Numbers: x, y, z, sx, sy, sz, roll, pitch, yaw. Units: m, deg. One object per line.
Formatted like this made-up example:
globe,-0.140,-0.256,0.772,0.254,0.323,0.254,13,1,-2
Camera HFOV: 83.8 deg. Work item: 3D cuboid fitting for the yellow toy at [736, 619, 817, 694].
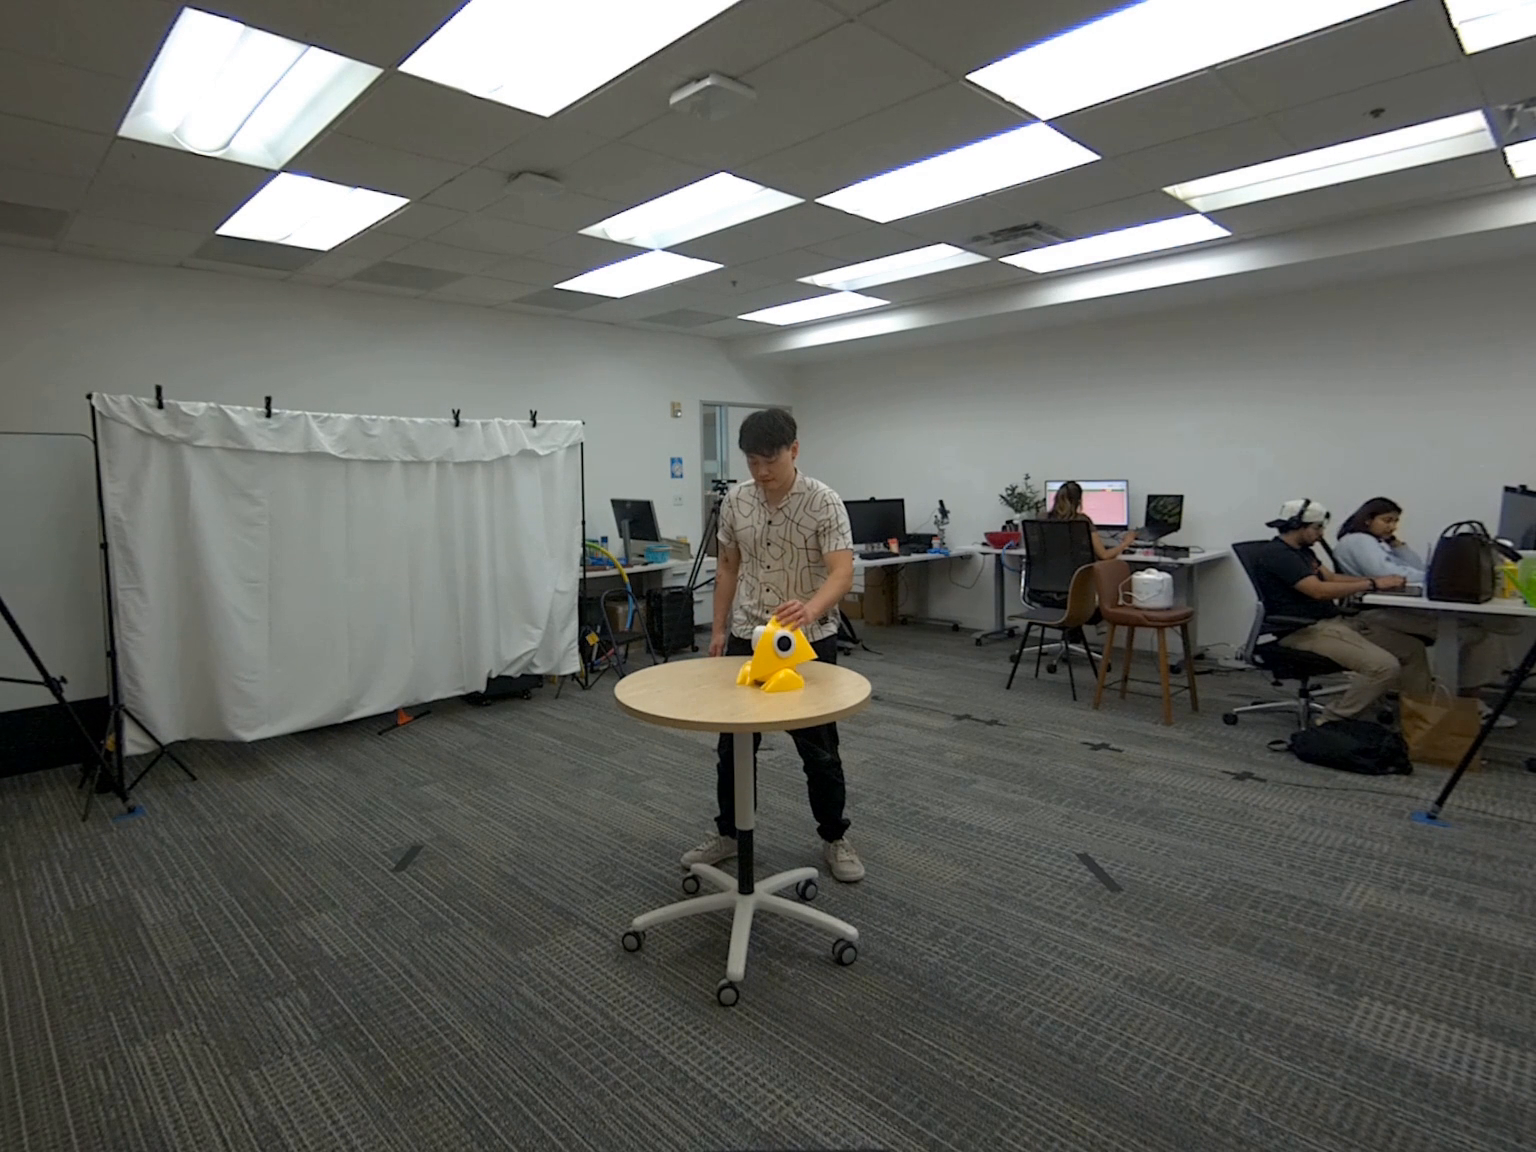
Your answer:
yellow toy,0.013,0.214,2.573,0.188,0.229,0.211,-6,8,-42
